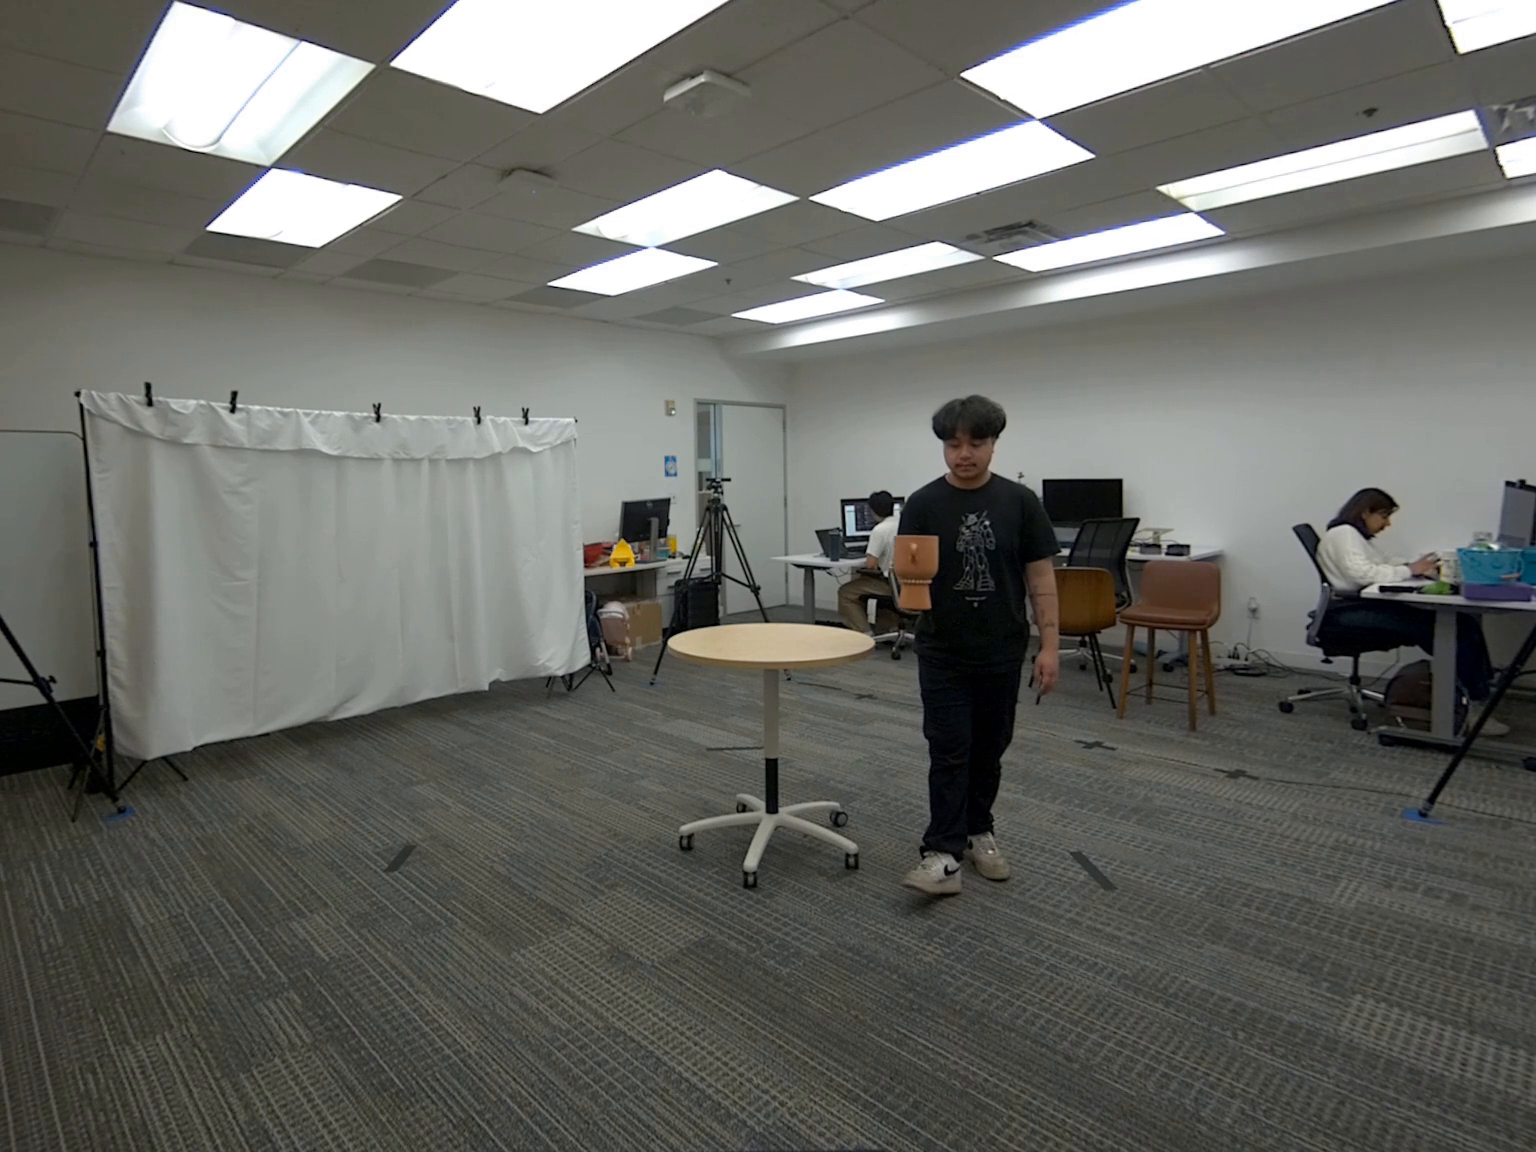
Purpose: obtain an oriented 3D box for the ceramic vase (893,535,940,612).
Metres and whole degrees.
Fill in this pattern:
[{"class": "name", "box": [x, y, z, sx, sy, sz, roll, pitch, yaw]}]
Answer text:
[{"class": "ceramic vase", "box": [0.453, -0.011, 2.594, 0.154, 0.219, 0.138, -1, 2, -38]}]
